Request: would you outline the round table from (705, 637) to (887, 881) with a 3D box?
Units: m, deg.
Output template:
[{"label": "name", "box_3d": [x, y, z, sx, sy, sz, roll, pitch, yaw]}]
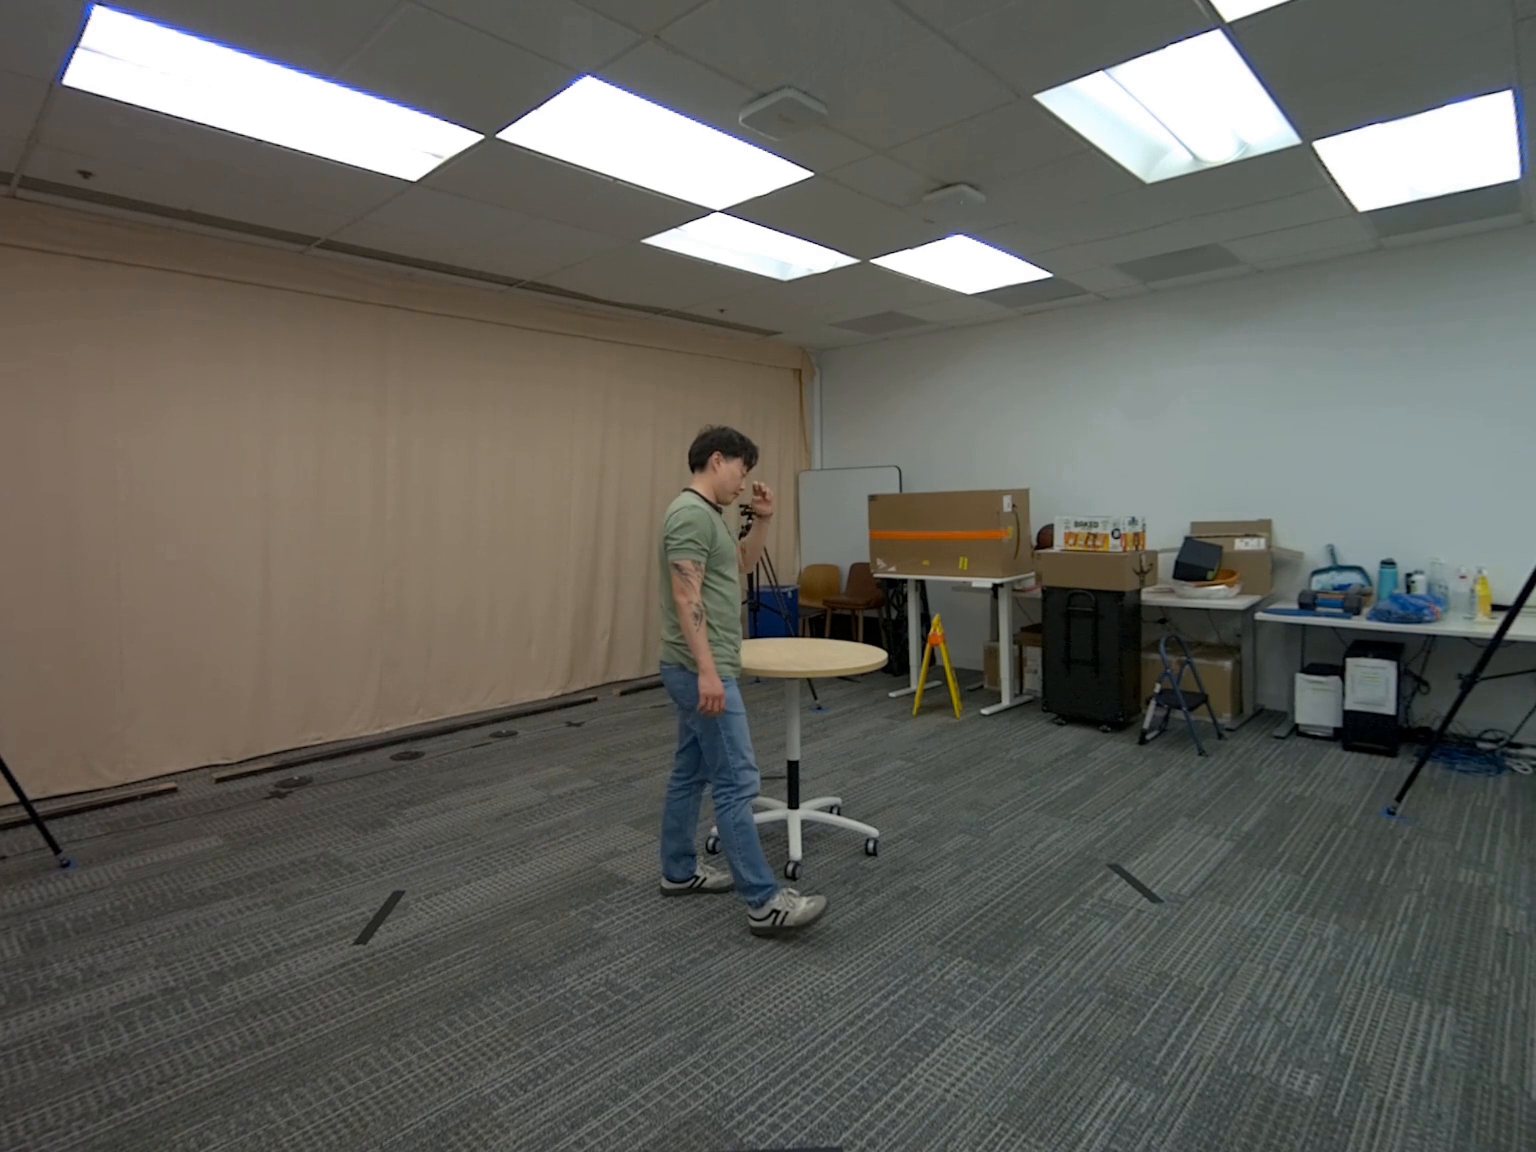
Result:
[{"label": "round table", "box_3d": [0.112, 0.707, 3.456, 0.763, 0.792, 0.766, 0, 3, -2]}]
